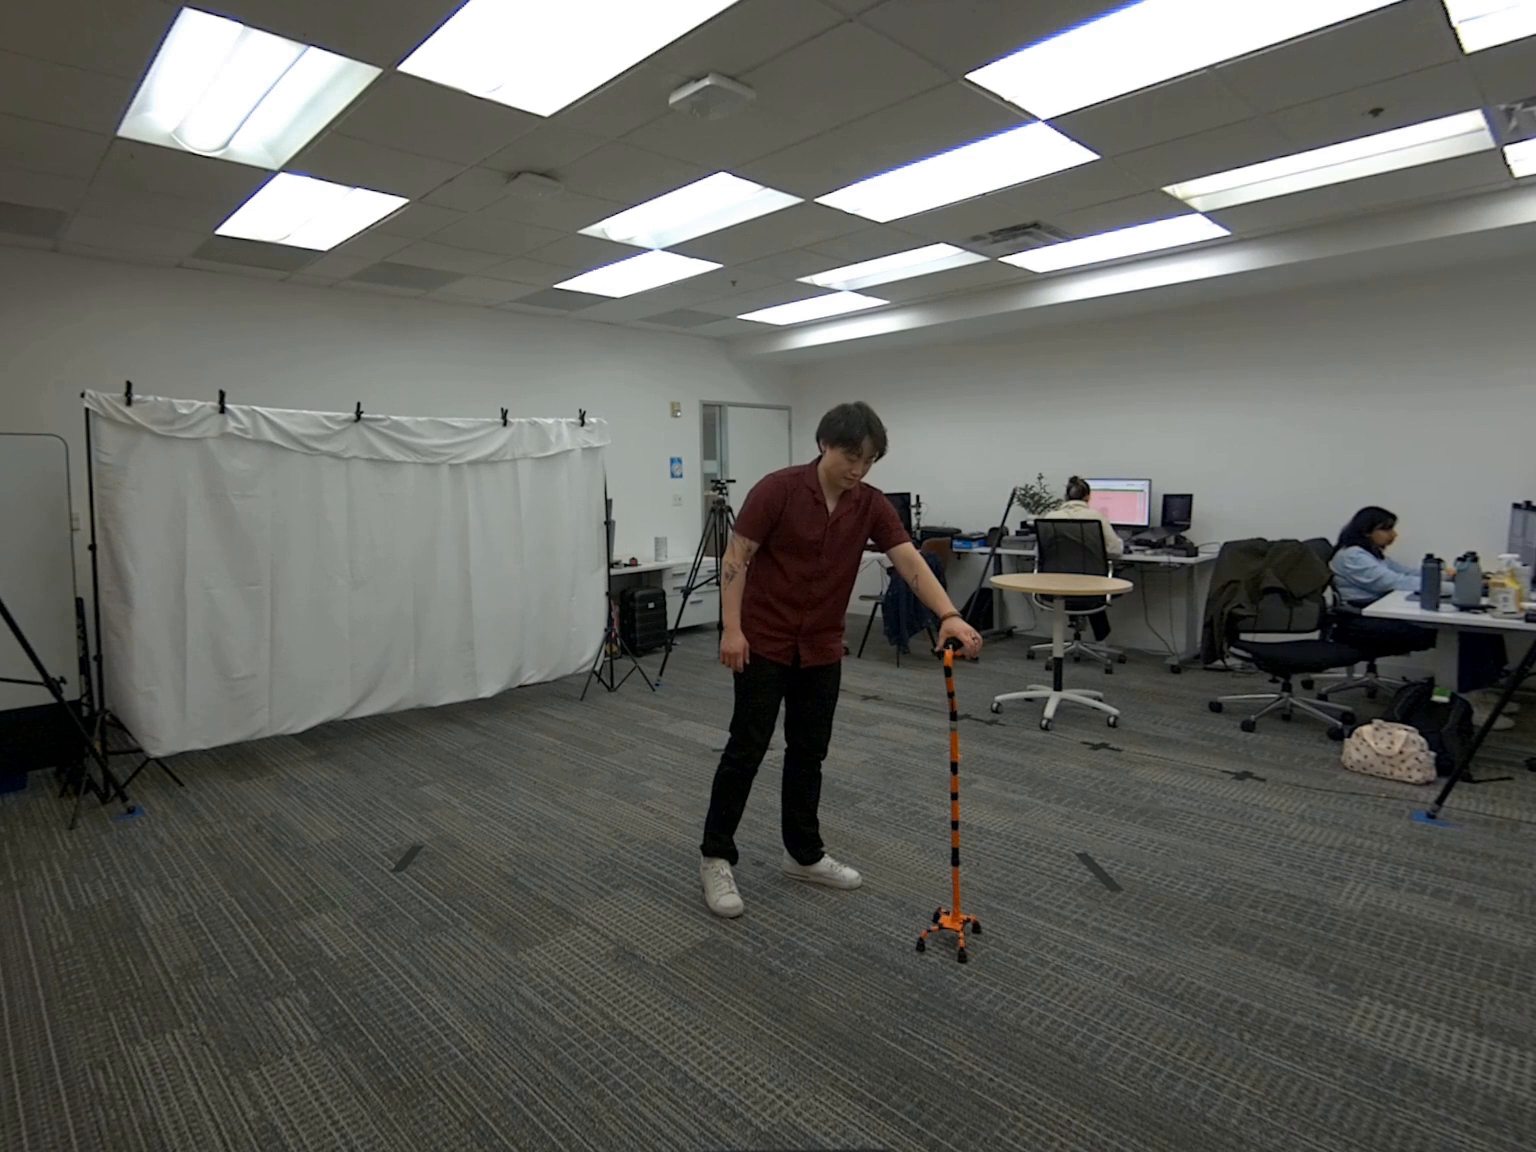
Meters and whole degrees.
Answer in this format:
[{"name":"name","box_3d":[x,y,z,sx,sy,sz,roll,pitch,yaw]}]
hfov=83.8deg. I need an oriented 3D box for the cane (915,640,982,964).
[{"name":"cane","box_3d":[0.542,0.647,2.538,0.155,0.904,0.202,1,4,24]}]
